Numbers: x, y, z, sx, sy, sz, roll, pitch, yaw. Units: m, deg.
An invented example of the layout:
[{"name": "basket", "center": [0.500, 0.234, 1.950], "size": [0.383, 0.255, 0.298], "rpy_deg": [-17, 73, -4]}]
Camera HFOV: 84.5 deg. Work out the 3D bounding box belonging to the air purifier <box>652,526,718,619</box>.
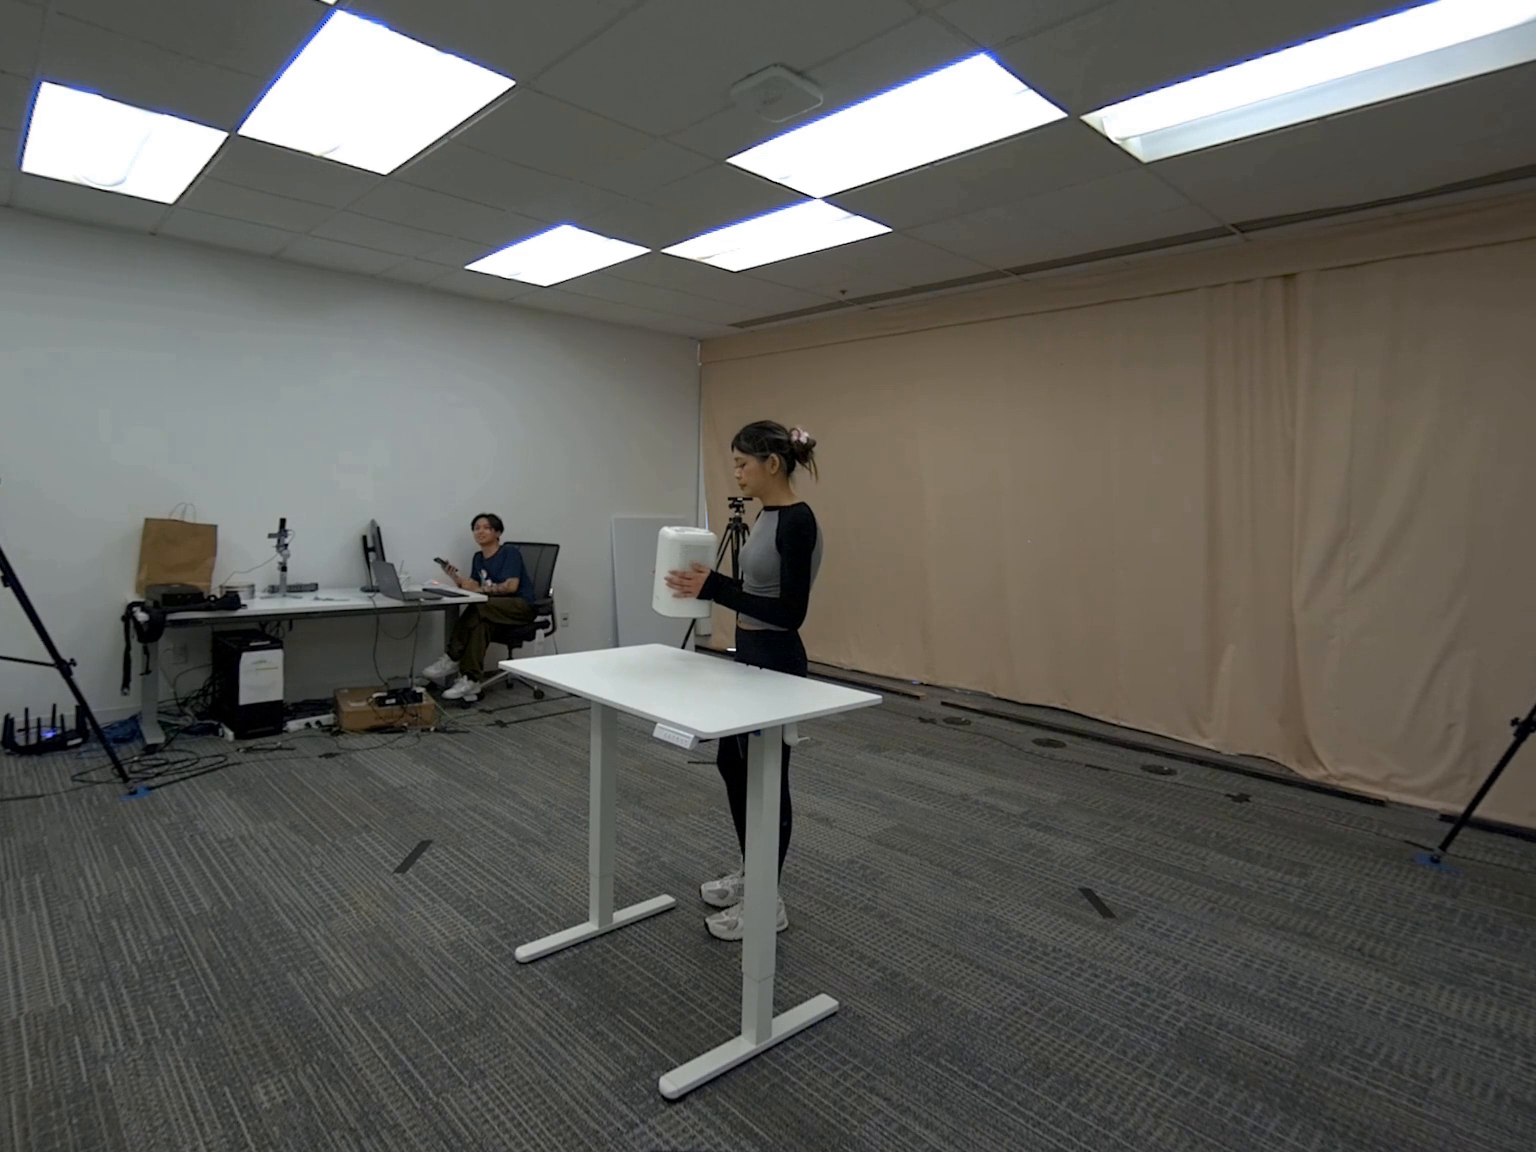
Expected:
[{"name": "air purifier", "center": [-0.256, -0.015, 2.636], "size": [0.168, 0.264, 0.175], "rpy_deg": [3, 7, -24]}]
